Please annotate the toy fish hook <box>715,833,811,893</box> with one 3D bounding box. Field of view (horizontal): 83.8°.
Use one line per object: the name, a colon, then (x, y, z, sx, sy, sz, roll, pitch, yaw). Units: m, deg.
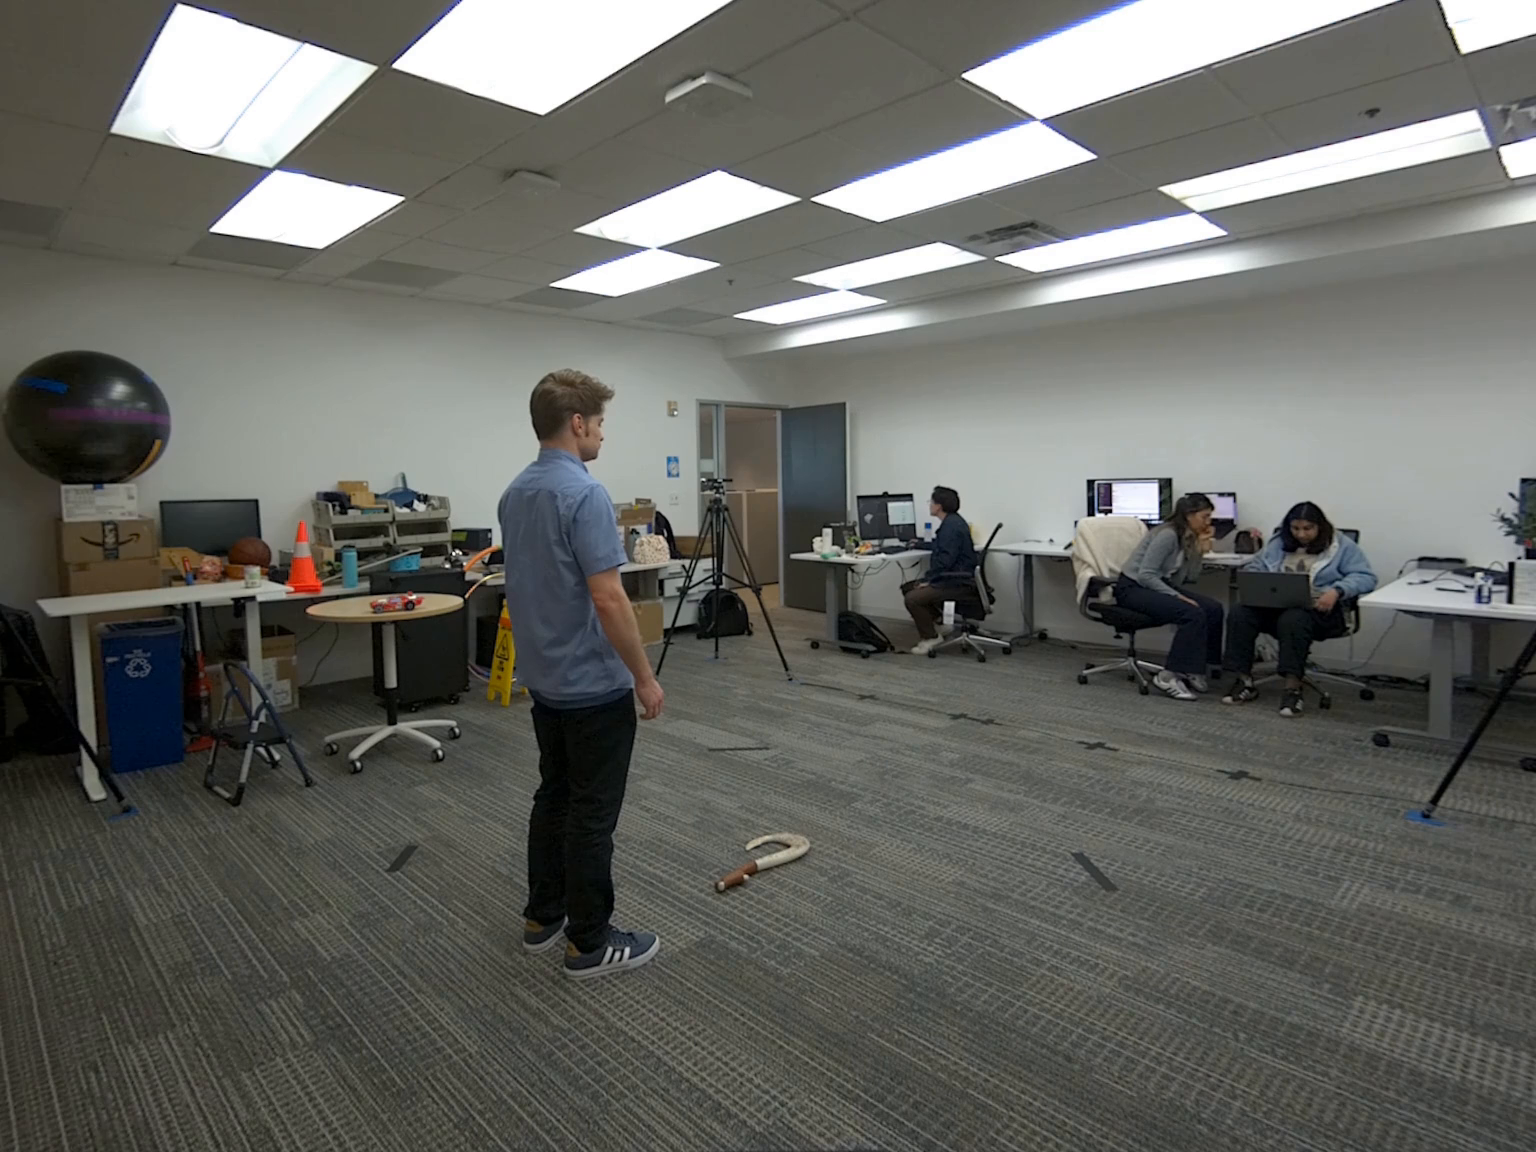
toy fish hook: (-0.050, 1.029, 3.100, 0.230, 0.048, 0.493, -6, 1, 41)
